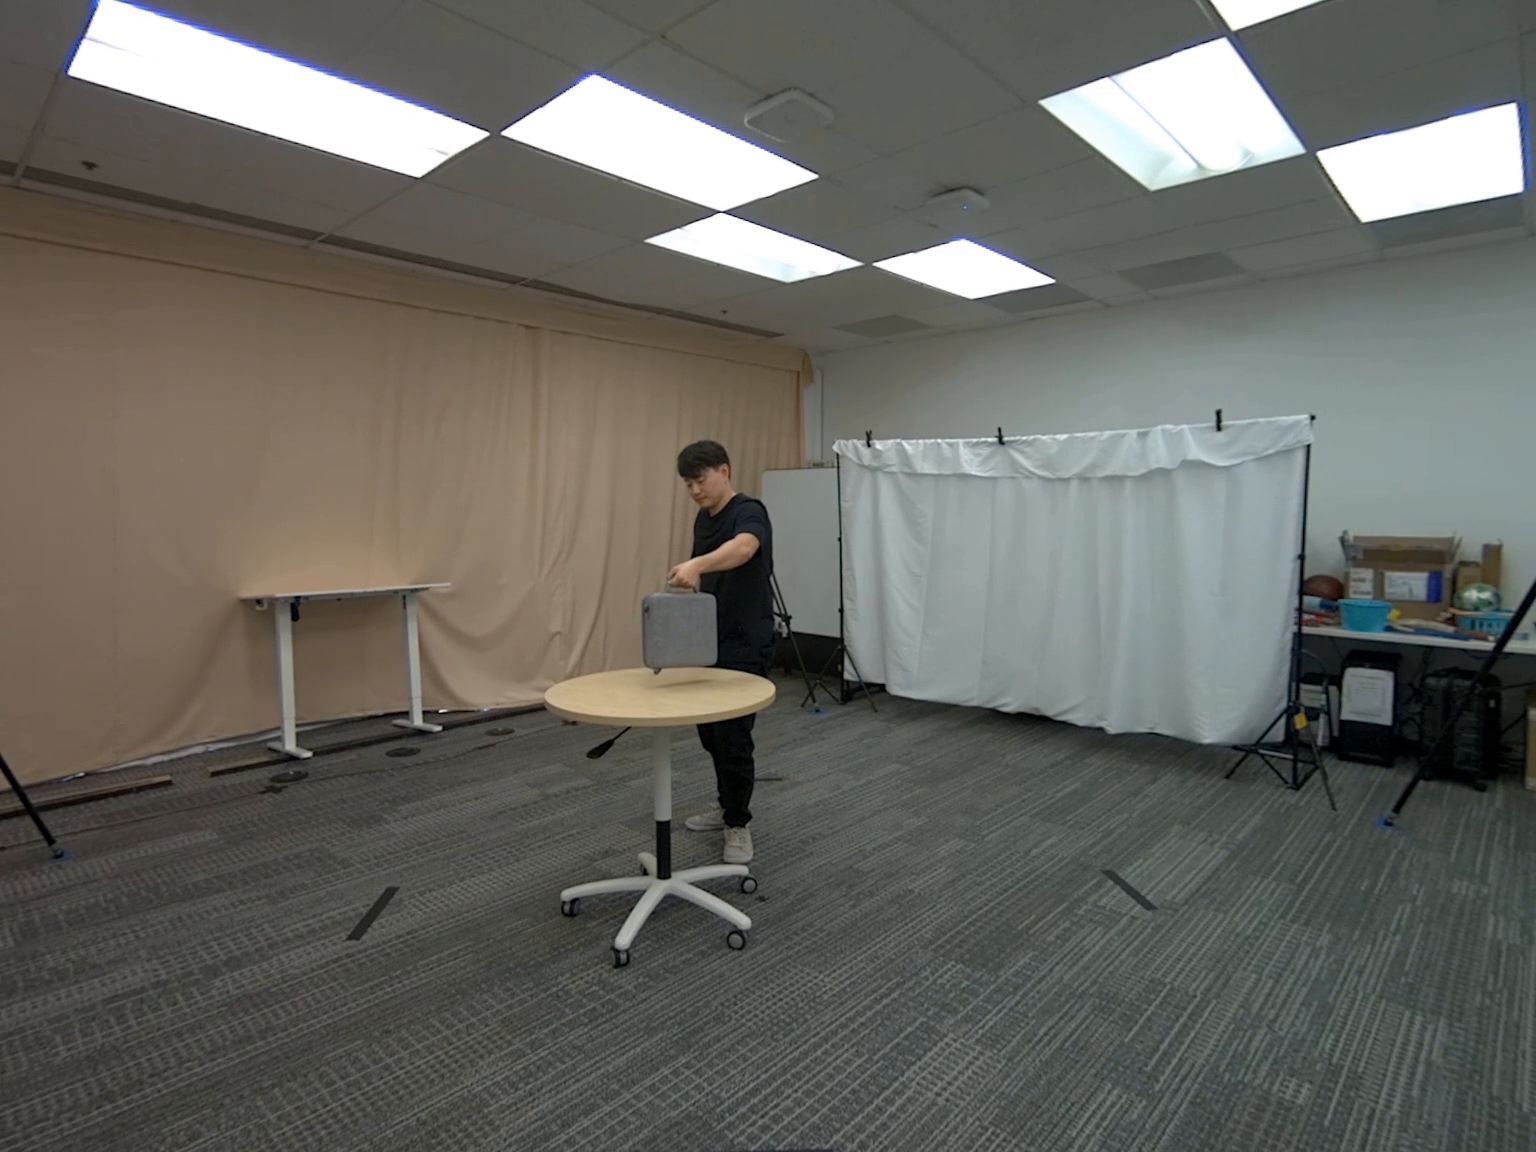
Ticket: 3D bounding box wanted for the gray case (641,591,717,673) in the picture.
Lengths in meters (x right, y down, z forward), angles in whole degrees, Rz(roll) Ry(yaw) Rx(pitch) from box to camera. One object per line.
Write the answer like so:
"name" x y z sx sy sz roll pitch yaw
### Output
"gray case" -0.293 0.179 2.882 0.250 0.261 0.107 -1 -3 -28
